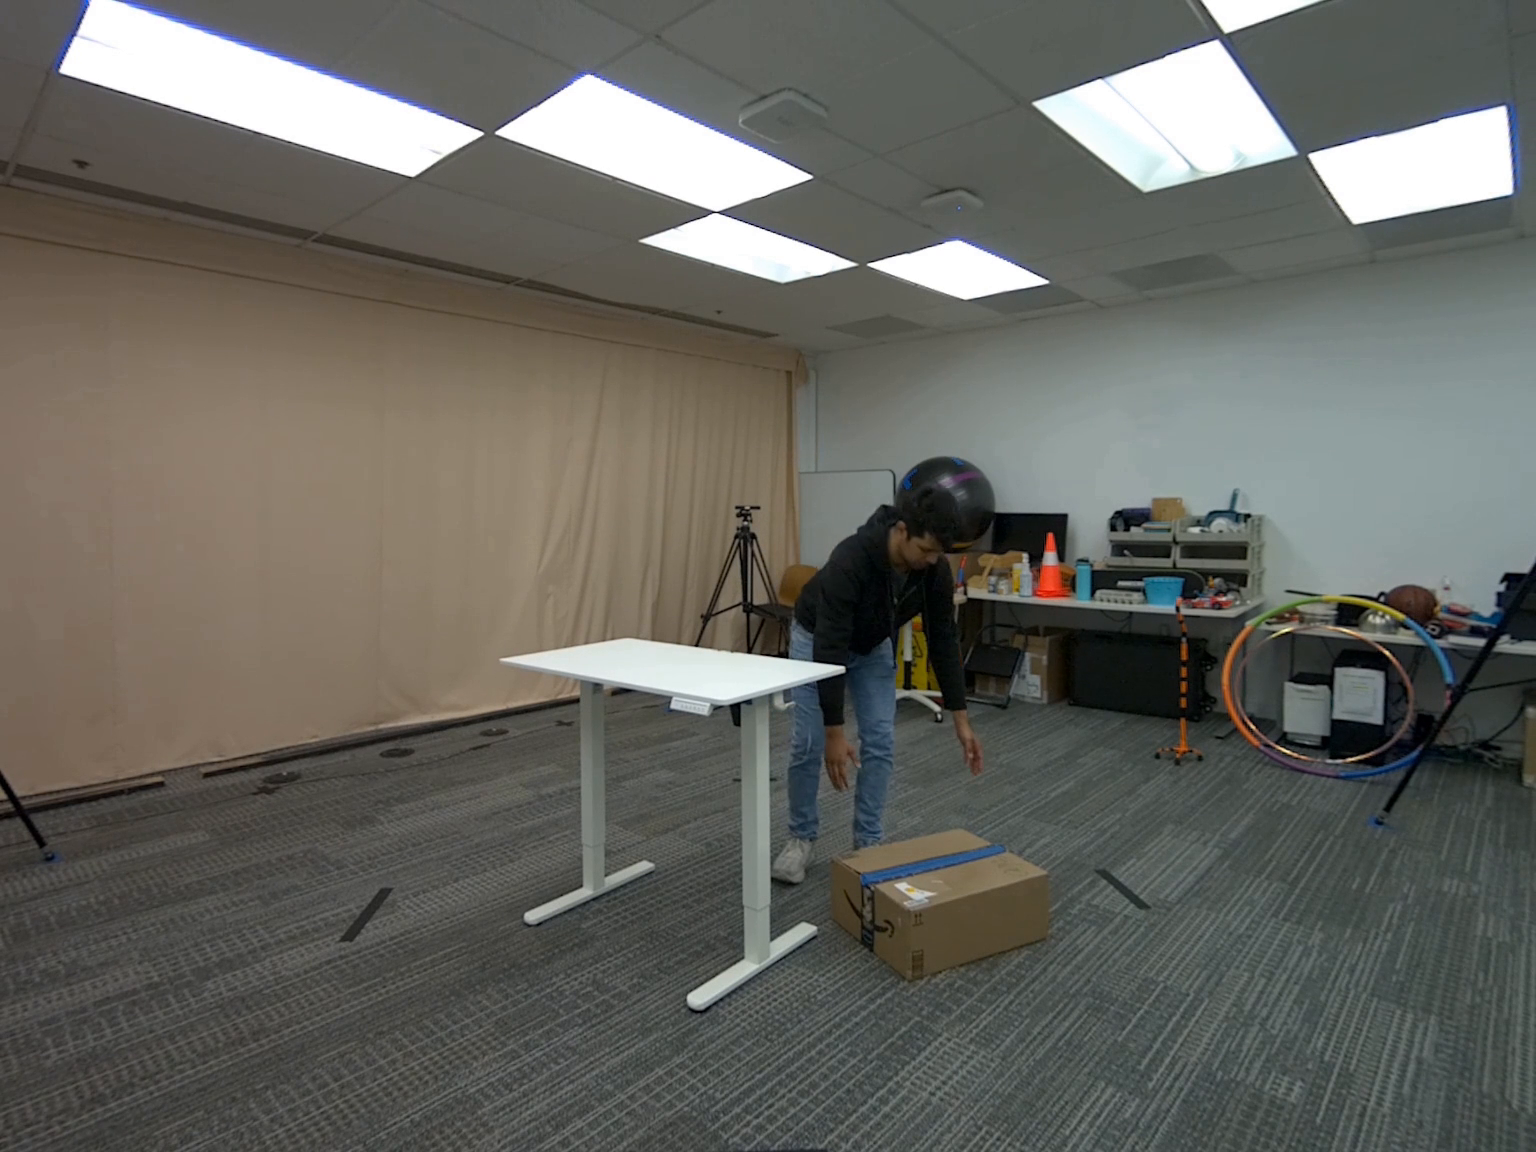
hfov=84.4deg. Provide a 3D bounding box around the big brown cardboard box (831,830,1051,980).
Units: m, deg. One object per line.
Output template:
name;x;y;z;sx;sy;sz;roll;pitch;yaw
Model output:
big brown cardboard box;0.558;1.049;2.760;0.574;0.233;0.429;-2;4;-27
